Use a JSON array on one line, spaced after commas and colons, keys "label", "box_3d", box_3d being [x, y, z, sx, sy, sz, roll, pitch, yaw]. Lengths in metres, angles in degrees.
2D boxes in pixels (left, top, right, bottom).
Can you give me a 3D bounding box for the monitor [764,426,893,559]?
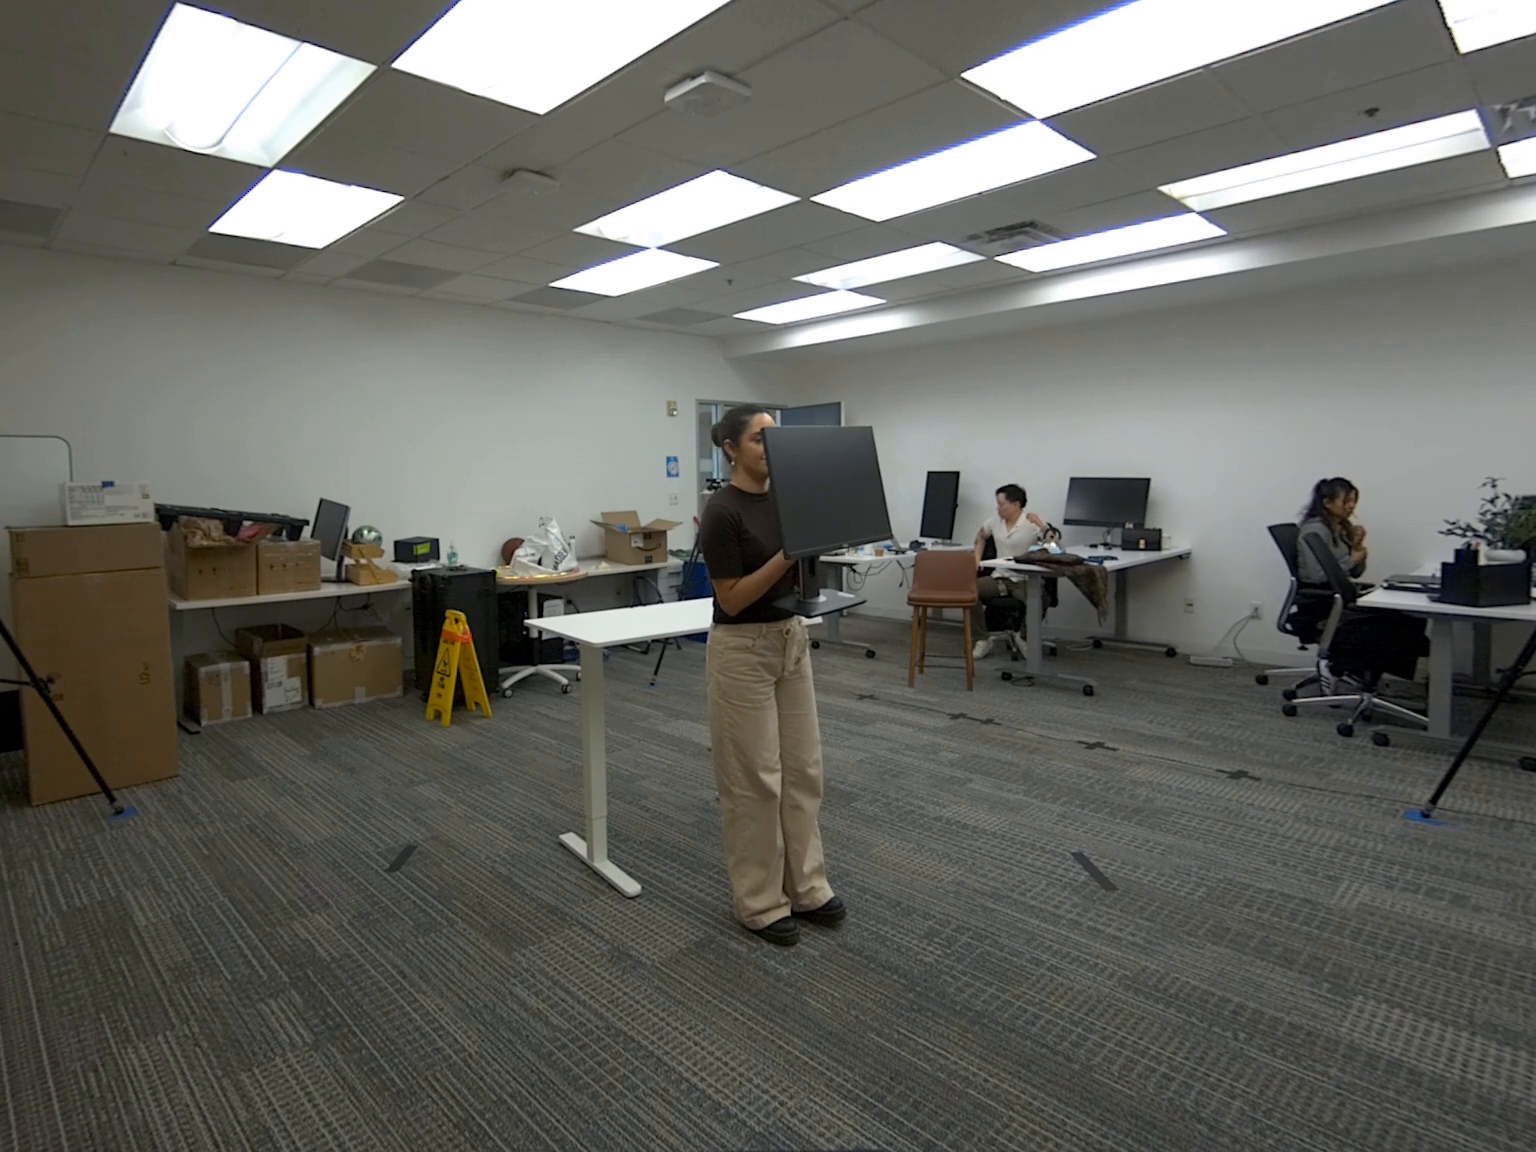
[{"label": "monitor", "box_3d": [0.158, -0.165, 2.446, 0.193, 0.519, 0.526, 6, 10, 37]}]
